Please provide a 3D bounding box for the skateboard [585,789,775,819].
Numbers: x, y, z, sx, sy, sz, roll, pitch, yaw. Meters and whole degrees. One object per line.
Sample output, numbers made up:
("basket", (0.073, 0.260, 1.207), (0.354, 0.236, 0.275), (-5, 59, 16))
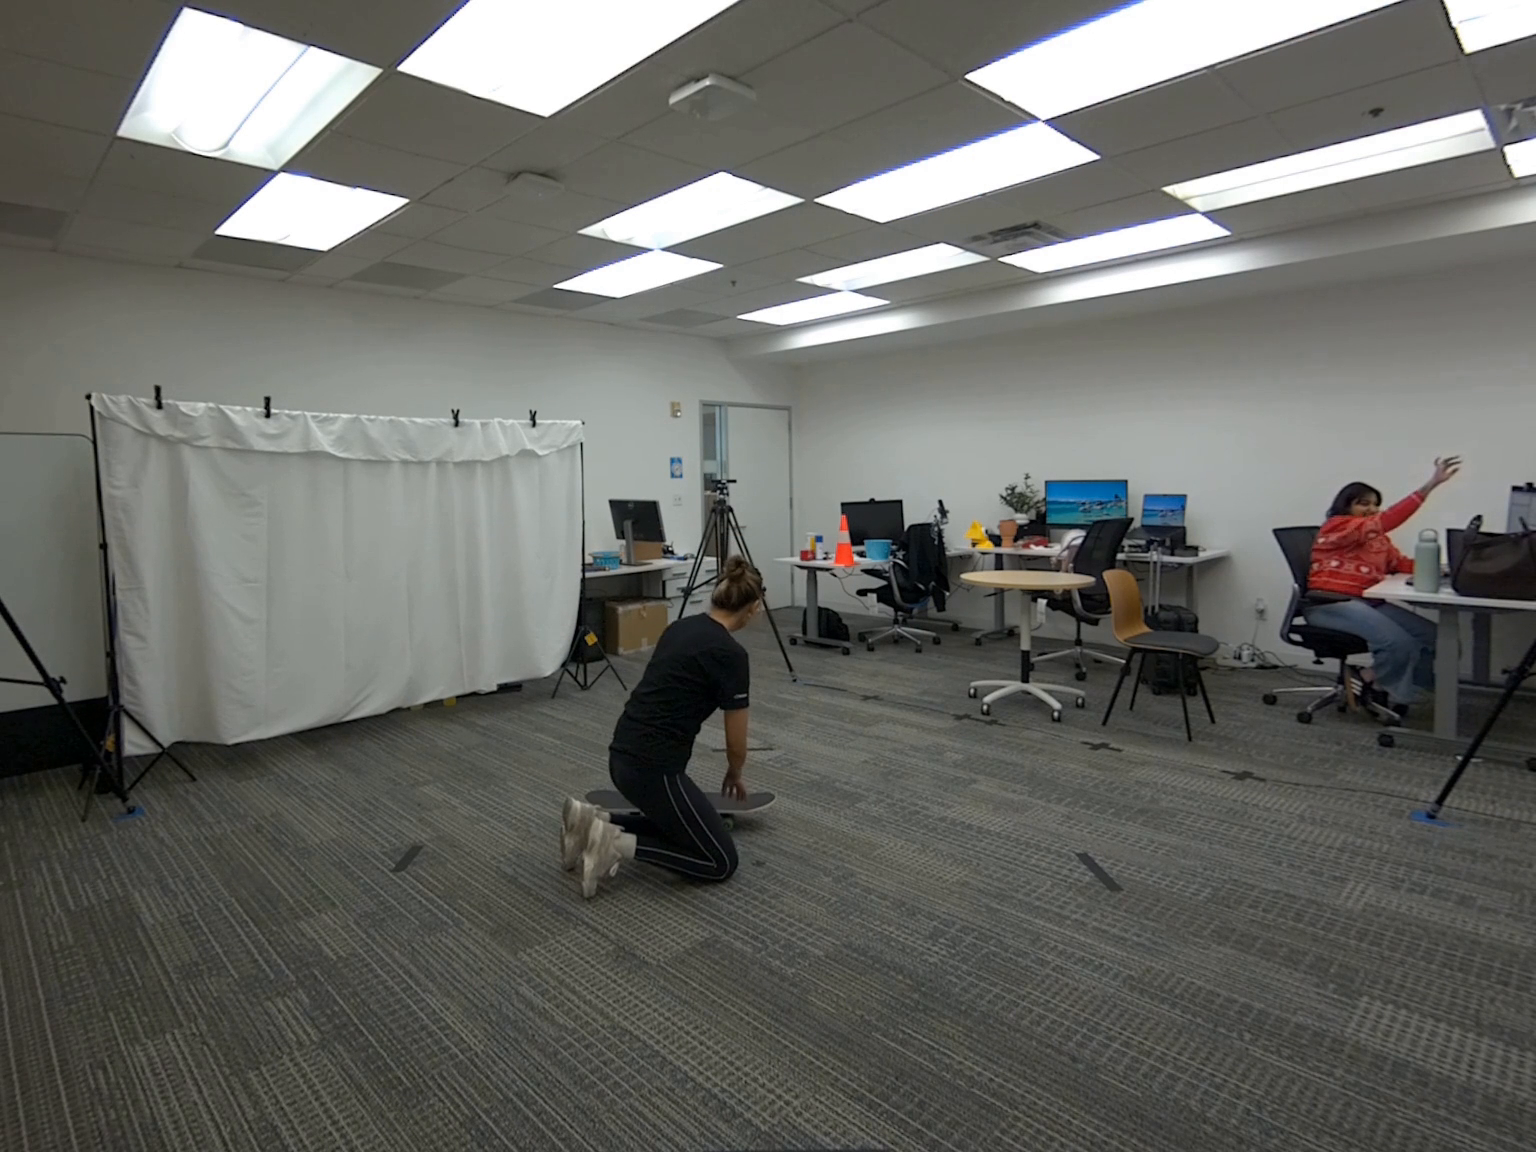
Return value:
("skateboard", (-0.347, 0.945, 3.491), (0.790, 0.110, 0.193), (0, 6, 5))
